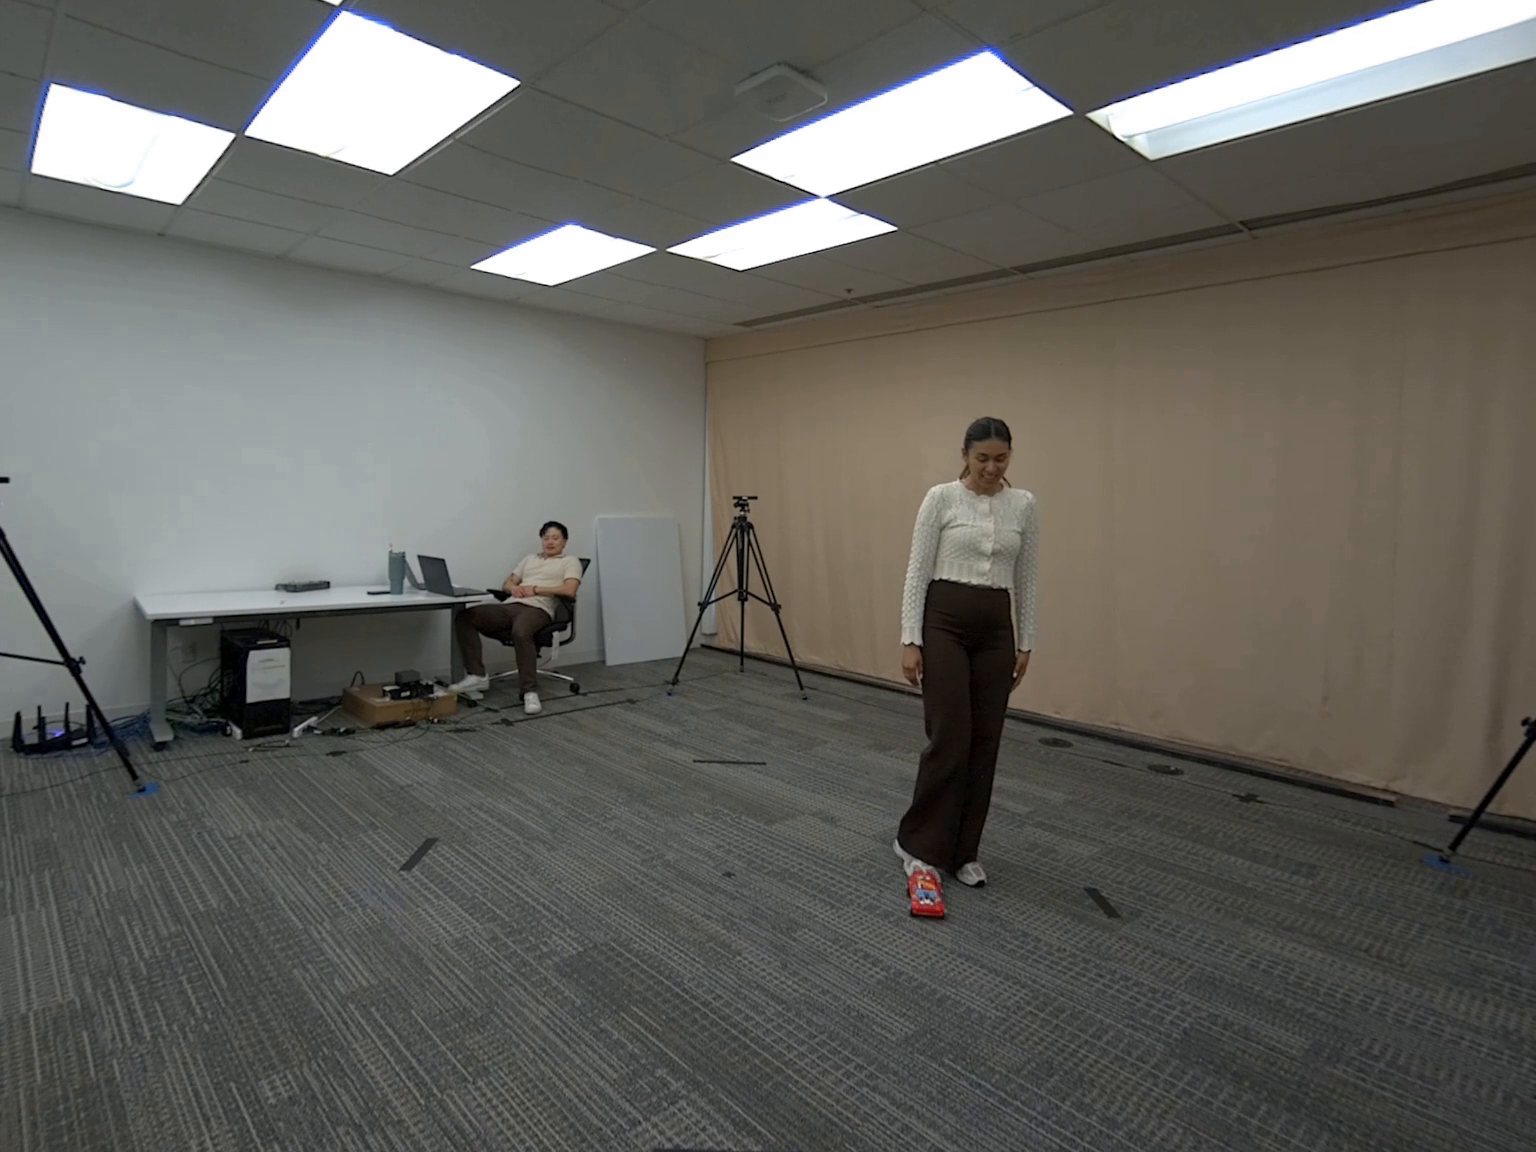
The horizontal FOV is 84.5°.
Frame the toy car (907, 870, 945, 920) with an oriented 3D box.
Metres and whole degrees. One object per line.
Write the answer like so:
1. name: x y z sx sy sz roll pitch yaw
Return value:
1. toy car: 0.541 1.107 2.909 0.131 0.082 0.256 1 17 7
